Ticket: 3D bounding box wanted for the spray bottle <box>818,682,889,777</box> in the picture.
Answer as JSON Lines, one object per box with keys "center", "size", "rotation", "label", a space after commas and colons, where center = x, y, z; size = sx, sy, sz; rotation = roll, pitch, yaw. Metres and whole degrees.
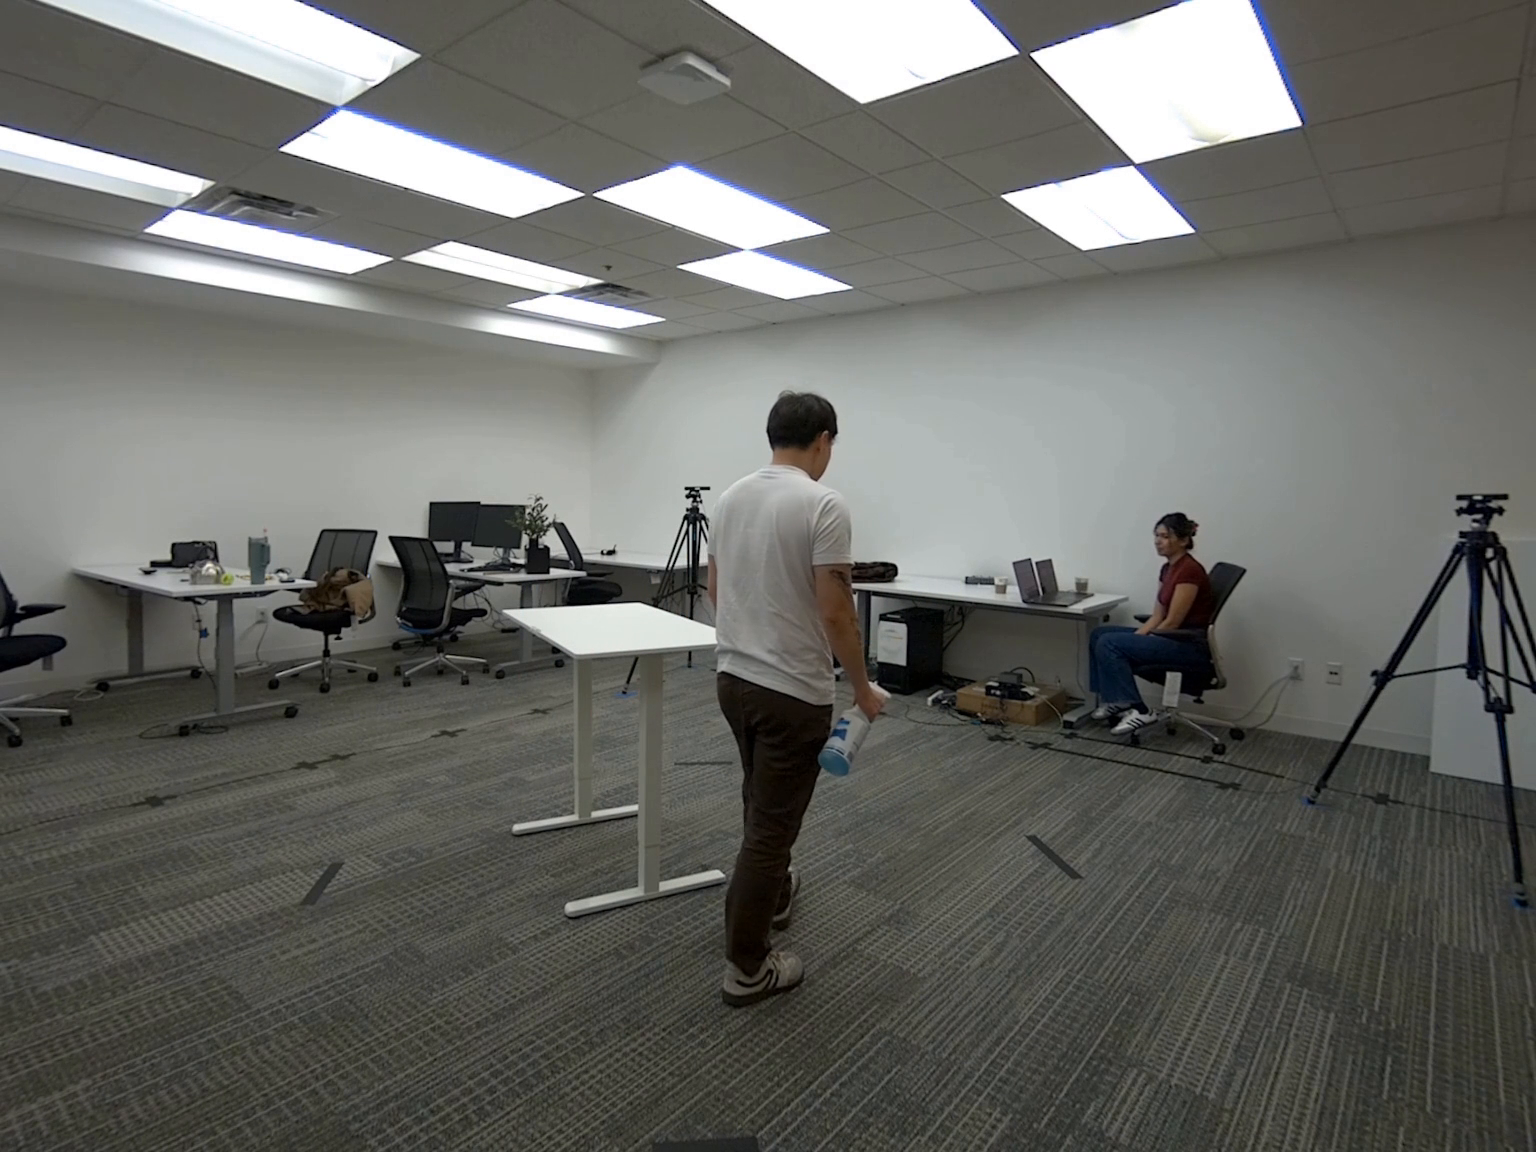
{"center": [0.226, 0.407, 2.299], "size": [0.093, 0.084, 0.297], "rotation": [21, 53, 27], "label": "spray bottle"}
